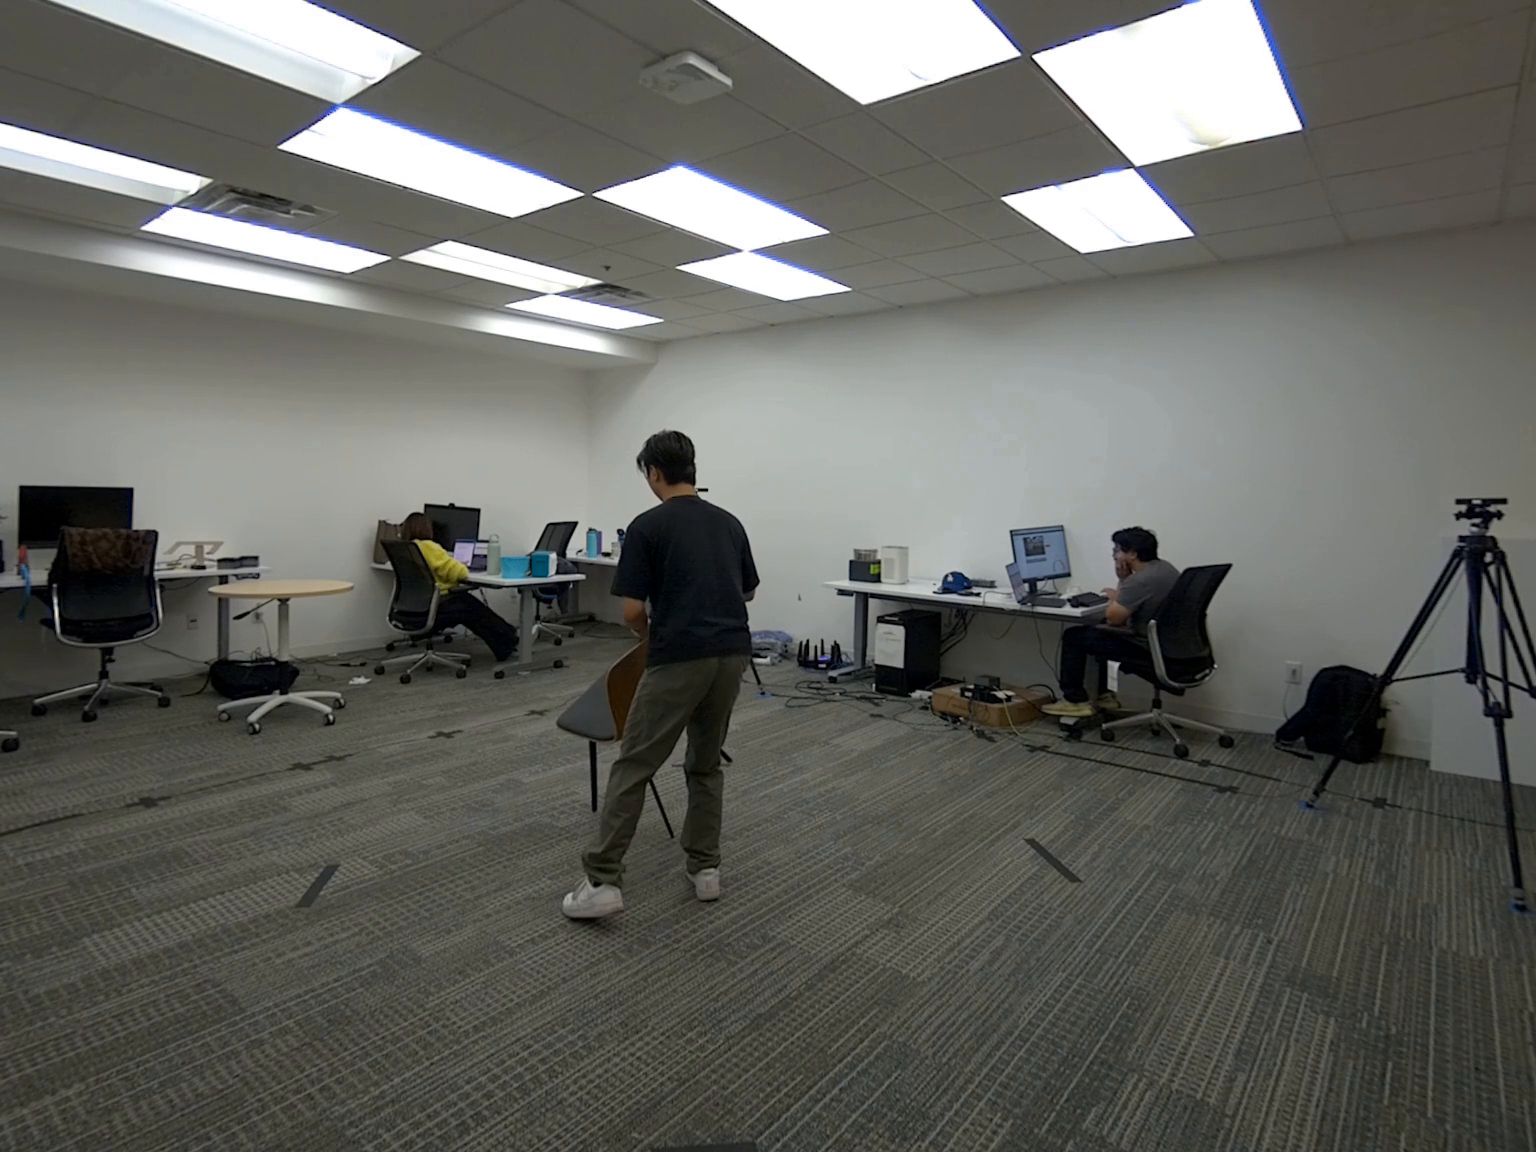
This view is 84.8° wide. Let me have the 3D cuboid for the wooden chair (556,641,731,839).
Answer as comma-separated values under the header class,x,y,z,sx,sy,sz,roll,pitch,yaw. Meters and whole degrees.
class,x,y,z,sx,sy,sz,roll,pitch,yaw
wooden chair,-0.583,0.547,3.489,0.541,0.851,0.476,9,36,33
